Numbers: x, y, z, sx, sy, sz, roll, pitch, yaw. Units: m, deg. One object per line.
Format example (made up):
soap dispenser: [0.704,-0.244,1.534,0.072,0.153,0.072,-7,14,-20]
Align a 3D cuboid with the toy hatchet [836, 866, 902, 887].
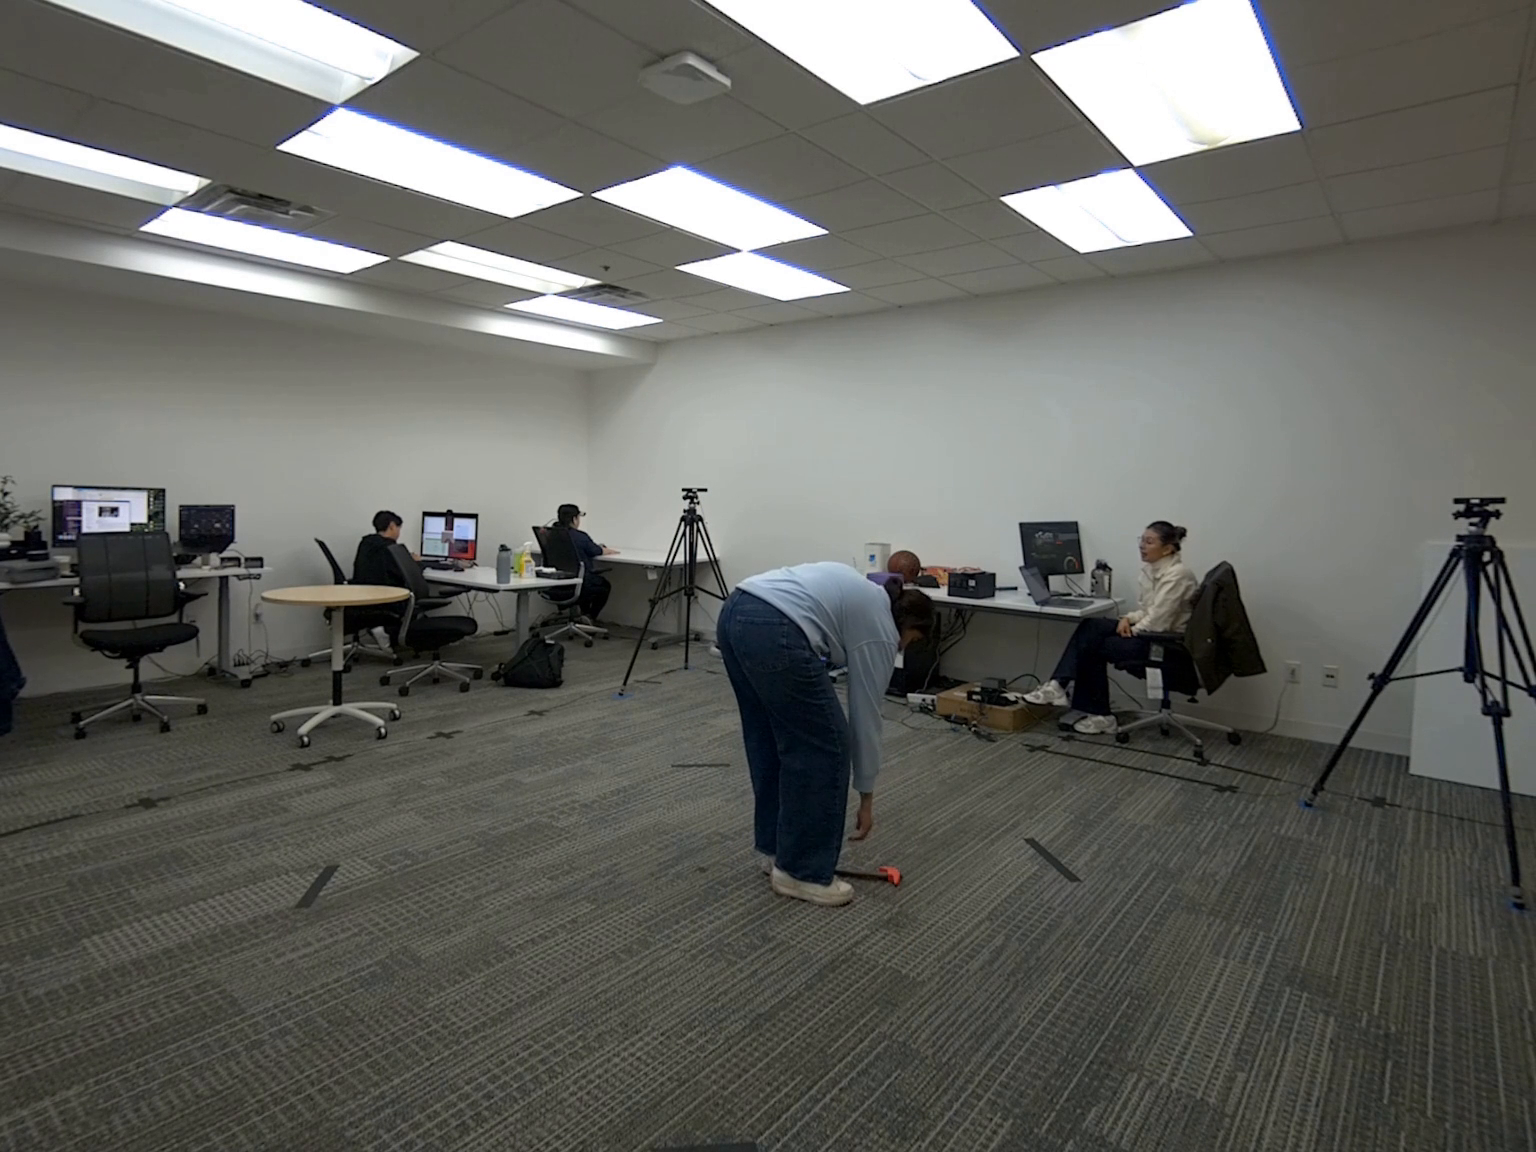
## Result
toy hatchet: [0.353,1.070,3.097,0.277,0.029,0.128,1,6,27]
